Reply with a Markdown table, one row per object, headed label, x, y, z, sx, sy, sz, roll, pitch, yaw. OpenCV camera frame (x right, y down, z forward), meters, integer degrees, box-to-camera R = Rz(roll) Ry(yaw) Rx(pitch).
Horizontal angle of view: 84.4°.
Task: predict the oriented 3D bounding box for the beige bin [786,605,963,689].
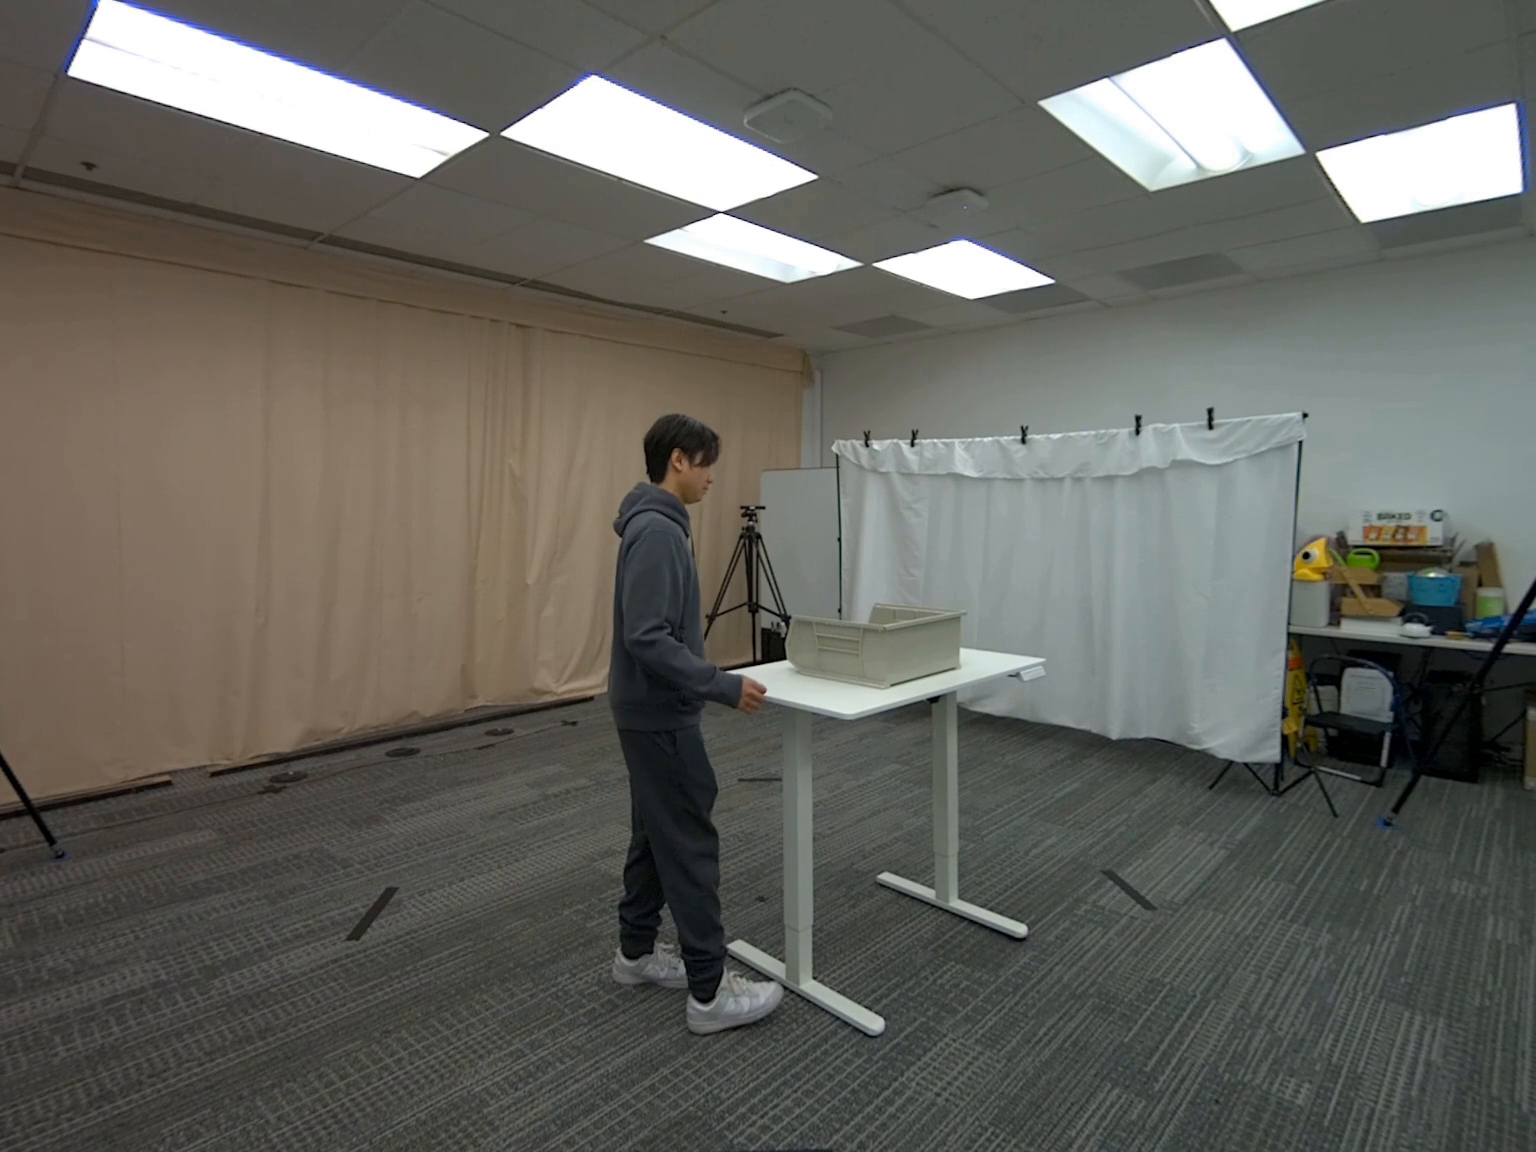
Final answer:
| label | x | y | z | sx | sy | sz | roll | pitch | yaw |
| --- | --- | --- | --- | --- | --- | --- | --- | --- | --- |
| beige bin | 0.341 | 0.205 | 2.593 | 0.409 | 0.188 | 0.390 | -5 | 7 | -44 |
